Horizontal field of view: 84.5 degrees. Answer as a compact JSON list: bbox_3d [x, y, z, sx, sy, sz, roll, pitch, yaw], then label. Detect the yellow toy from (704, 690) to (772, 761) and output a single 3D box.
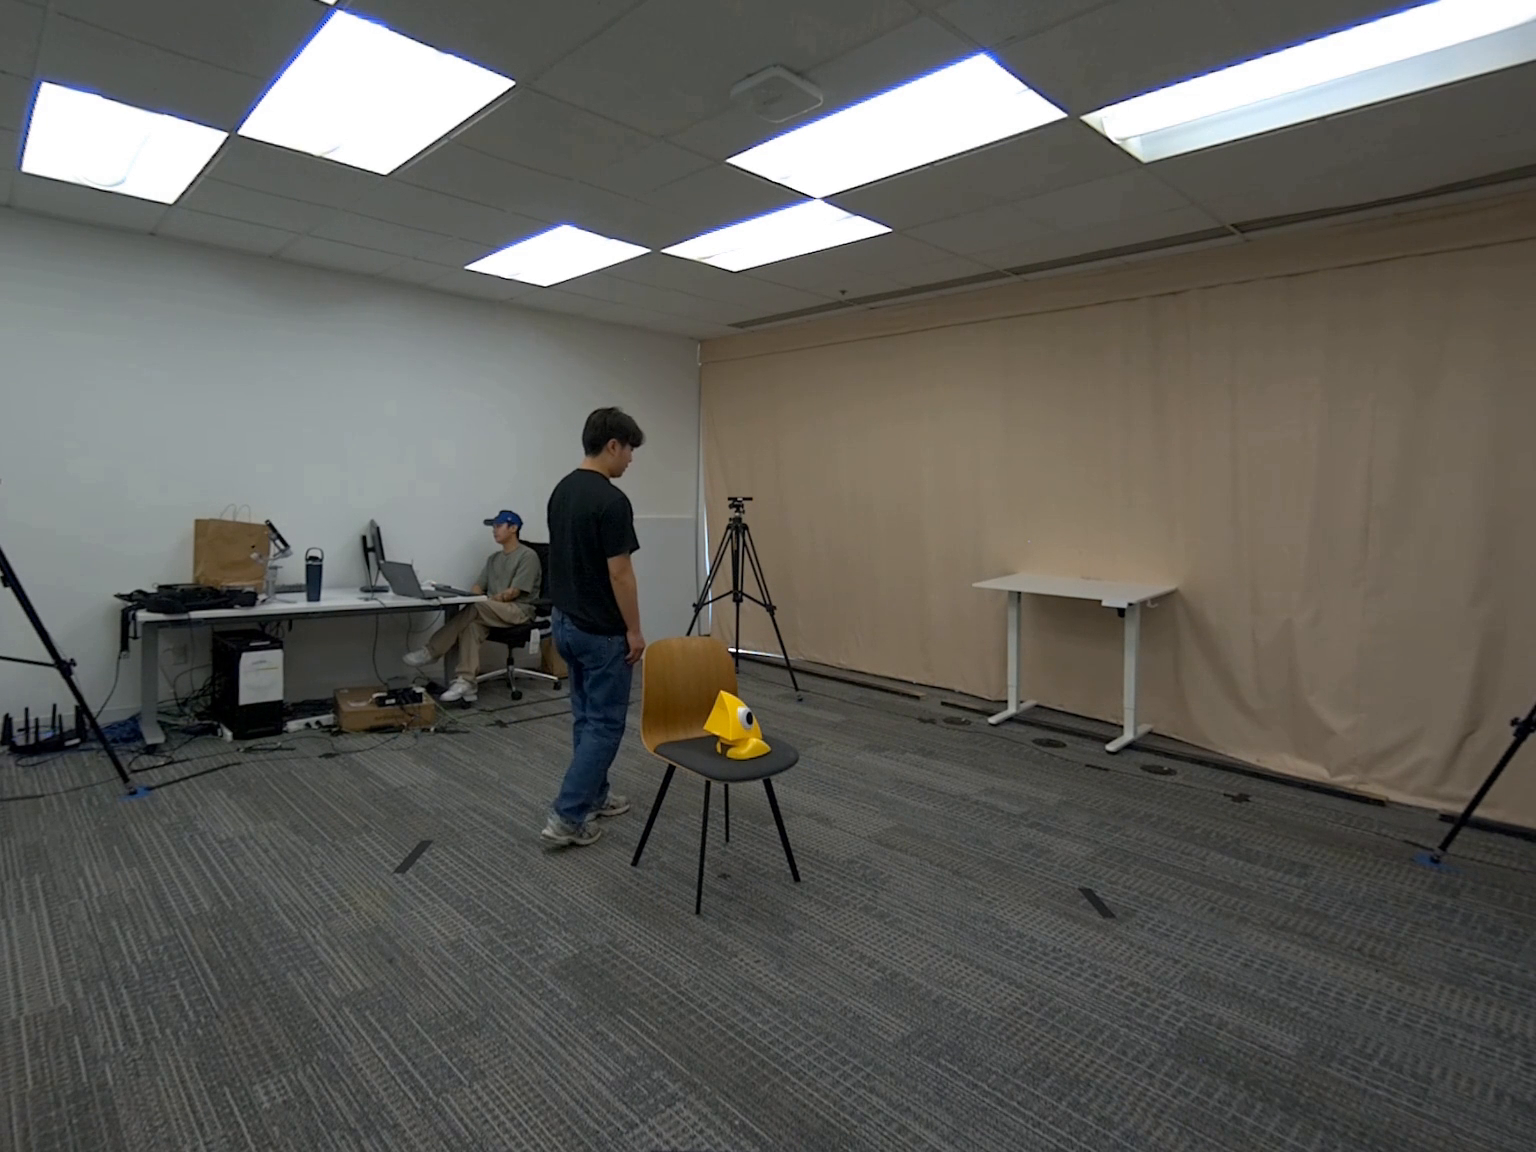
[{"bbox_3d":[-0.118,0.521,3.040,0.189,0.230,0.209,-6,4,-30],"label":"yellow toy"}]
